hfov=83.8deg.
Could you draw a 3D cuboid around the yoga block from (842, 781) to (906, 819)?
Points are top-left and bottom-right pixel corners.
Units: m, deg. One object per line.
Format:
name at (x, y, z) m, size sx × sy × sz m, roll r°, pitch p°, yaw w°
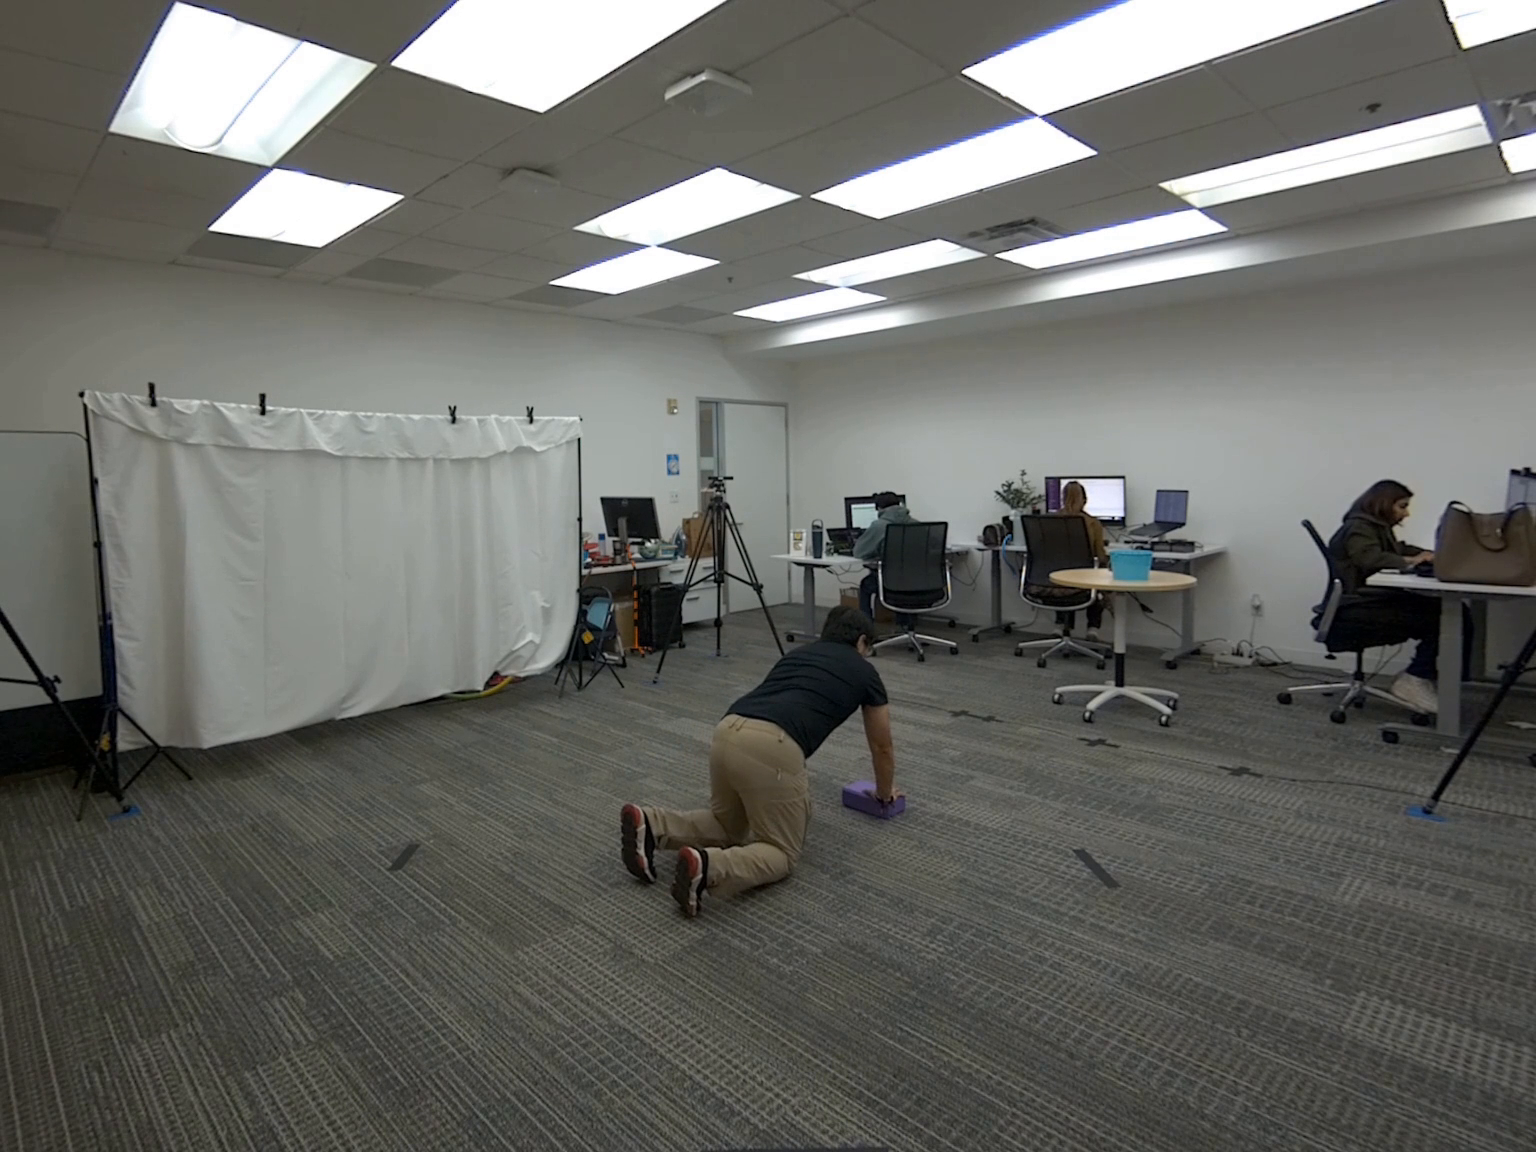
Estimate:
yoga block at (0.442, 0.928, 3.582) m, size 0.236 × 0.076 × 0.145 m, roll 7°, pitch 9°, yaw 43°
